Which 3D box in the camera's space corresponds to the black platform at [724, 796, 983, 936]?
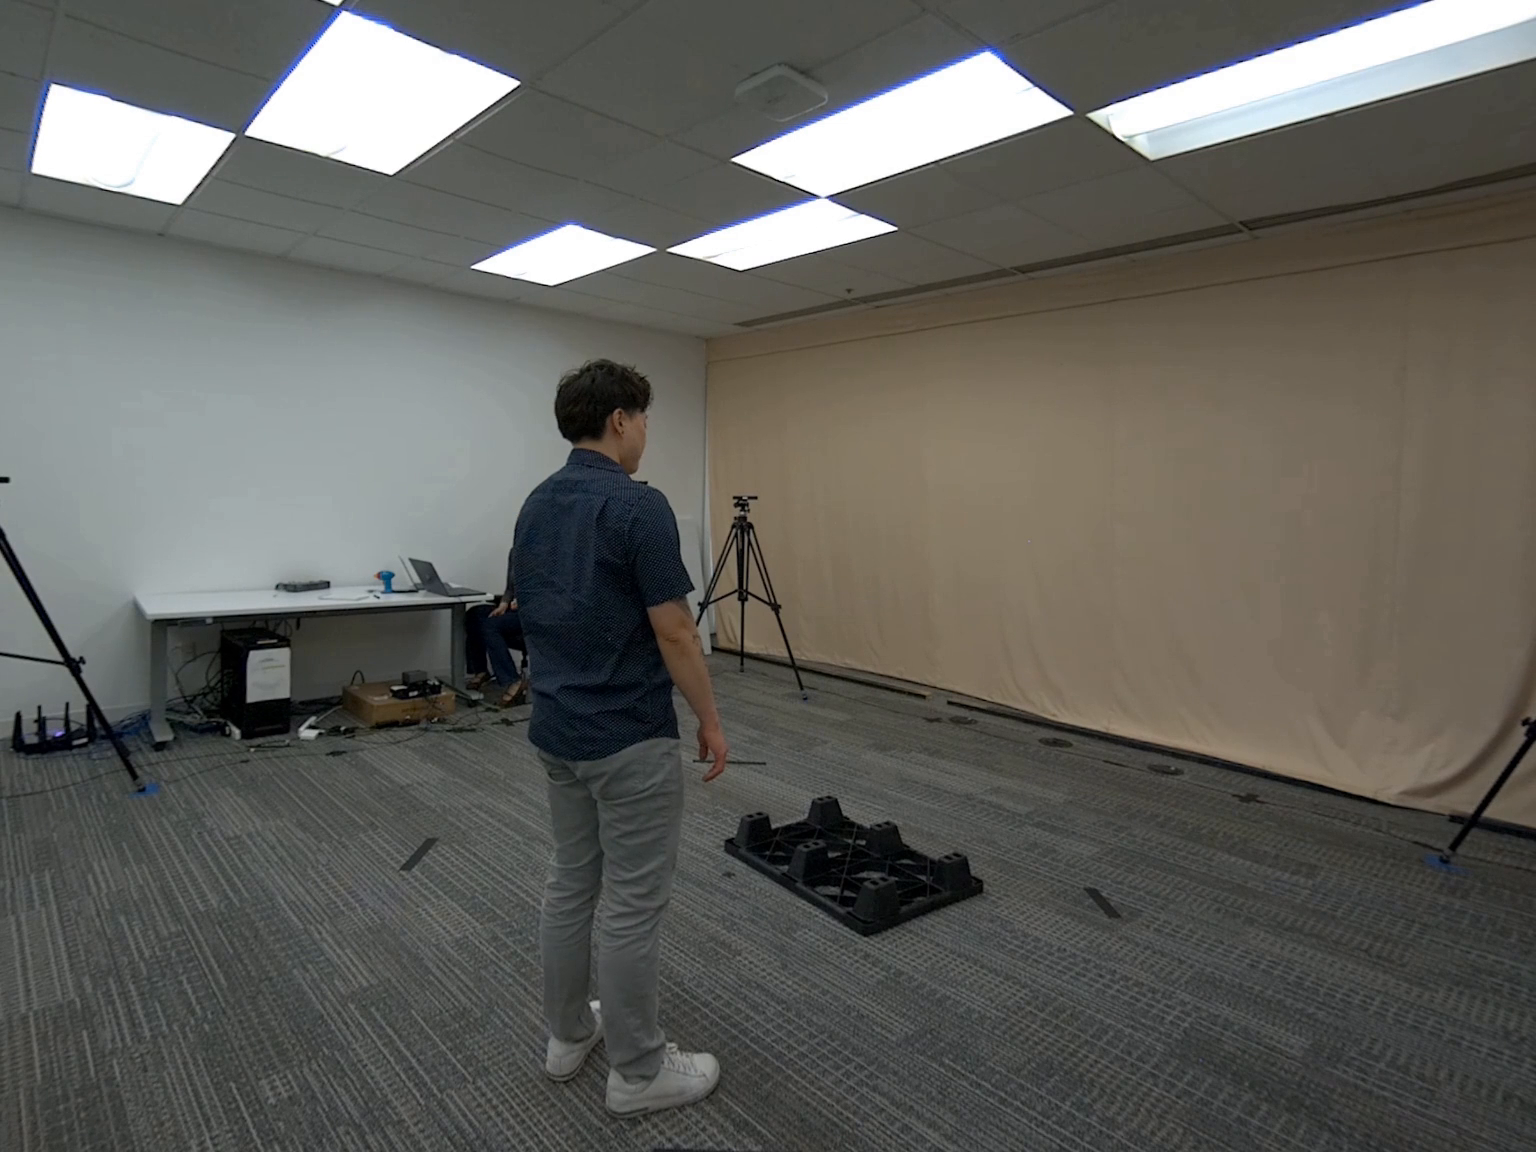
[{"bbox_3d":[0.301,1.042,3.167,0.592,0.143,0.826,-3,7,-37],"label":"black platform"}]
